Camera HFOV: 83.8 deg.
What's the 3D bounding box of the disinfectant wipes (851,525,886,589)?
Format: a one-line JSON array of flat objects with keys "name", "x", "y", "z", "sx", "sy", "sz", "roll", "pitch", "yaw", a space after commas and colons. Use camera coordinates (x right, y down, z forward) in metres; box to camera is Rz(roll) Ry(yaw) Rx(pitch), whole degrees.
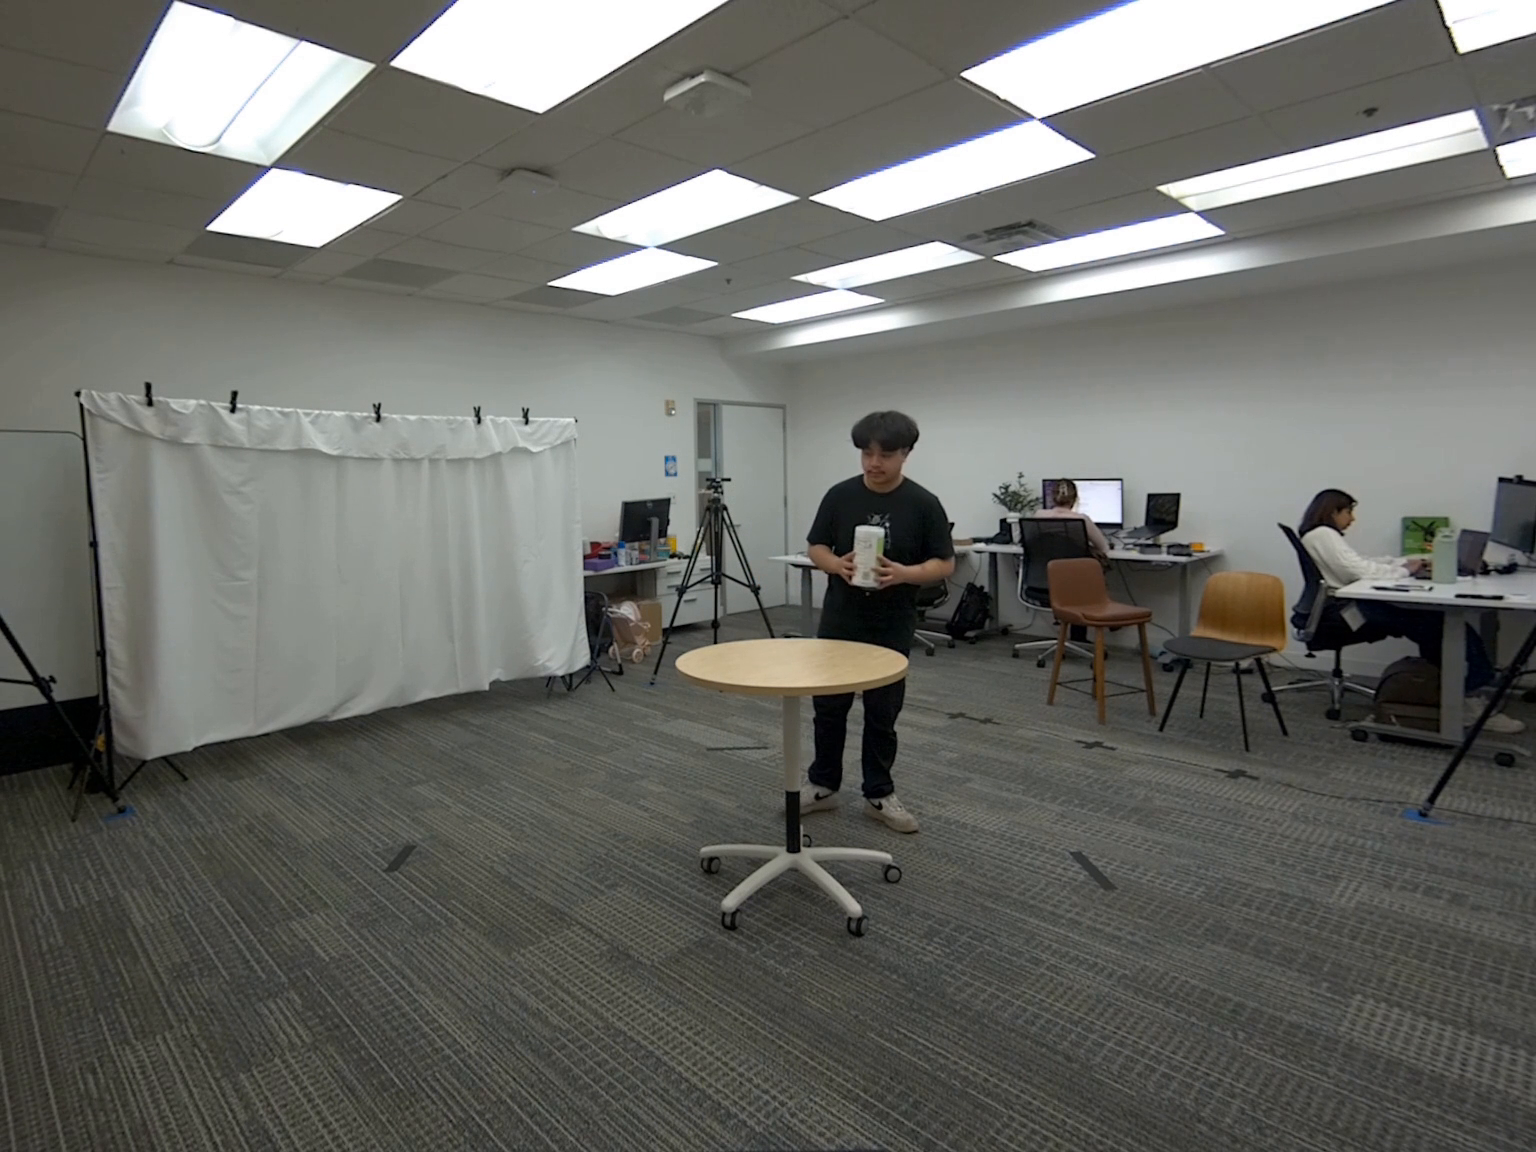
[{"name": "disinfectant wipes", "x": 0.360, "y": -0.074, "z": 3.179, "sx": 0.117, "sy": 0.215, "sz": 0.119, "roll": 3, "pitch": 11, "yaw": -2}]
